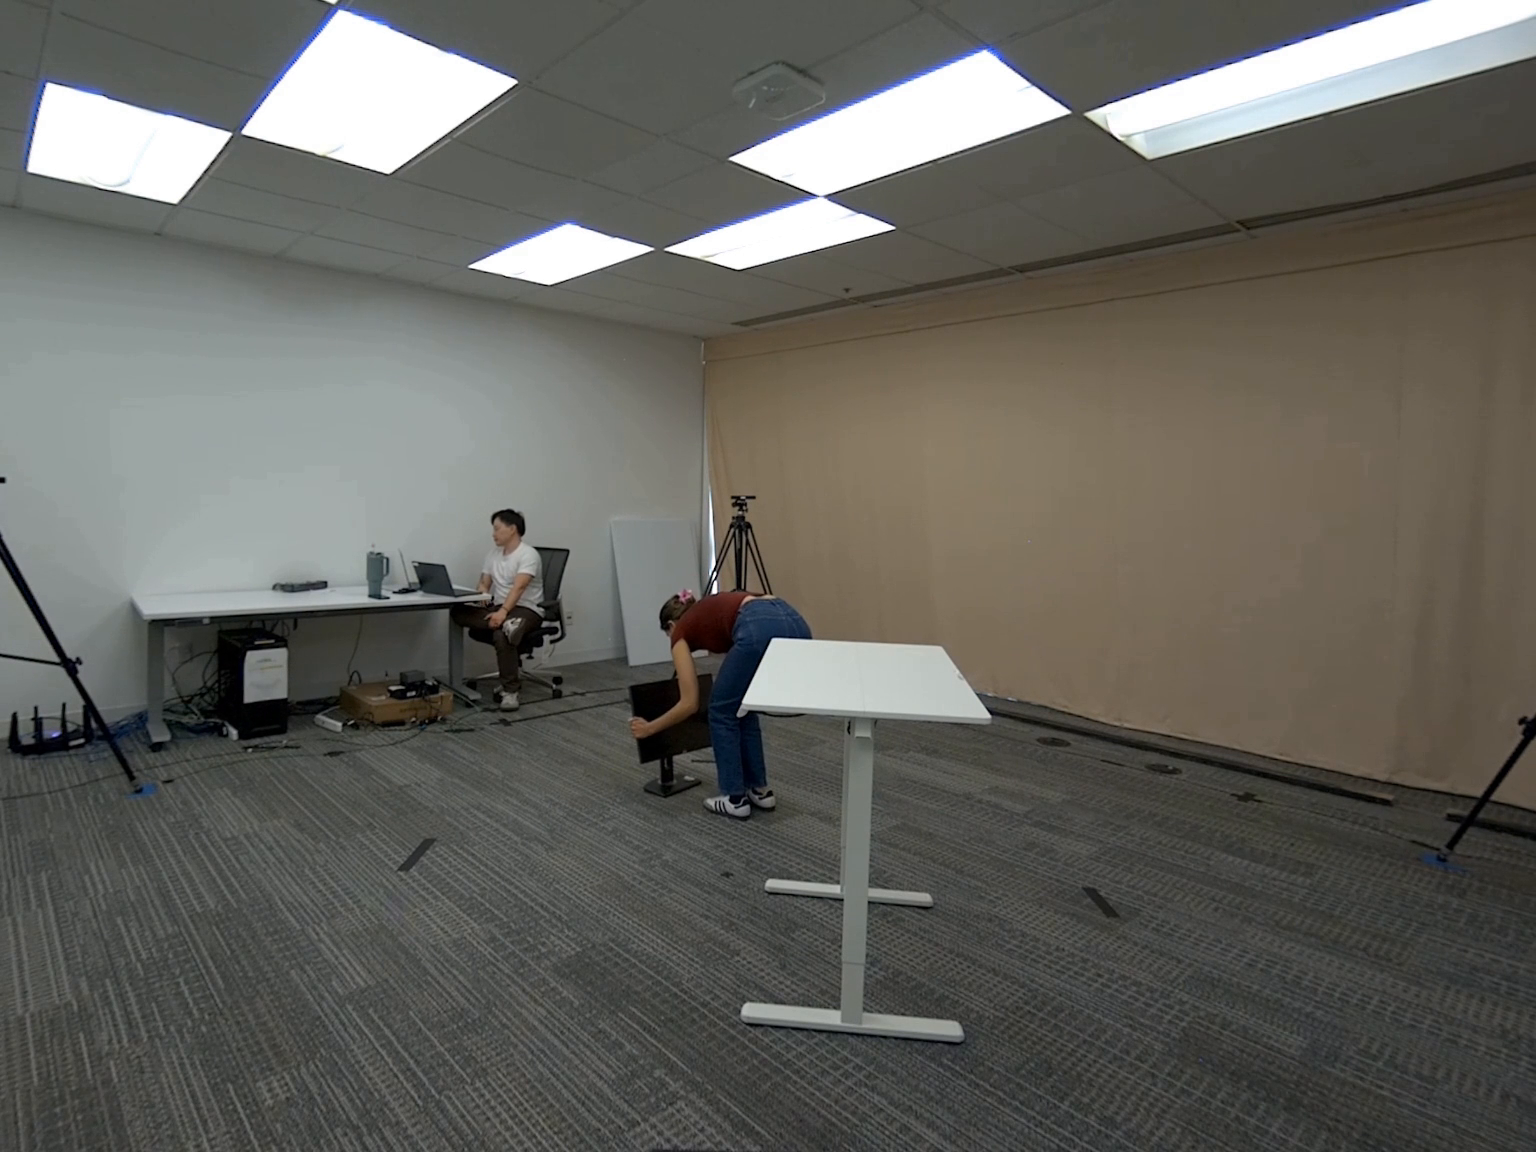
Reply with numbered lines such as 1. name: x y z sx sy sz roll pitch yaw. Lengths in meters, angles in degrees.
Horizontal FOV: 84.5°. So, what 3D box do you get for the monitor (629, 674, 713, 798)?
1. monitor: -0.462 0.751 4.029 0.192 0.521 0.527 3 4 39
